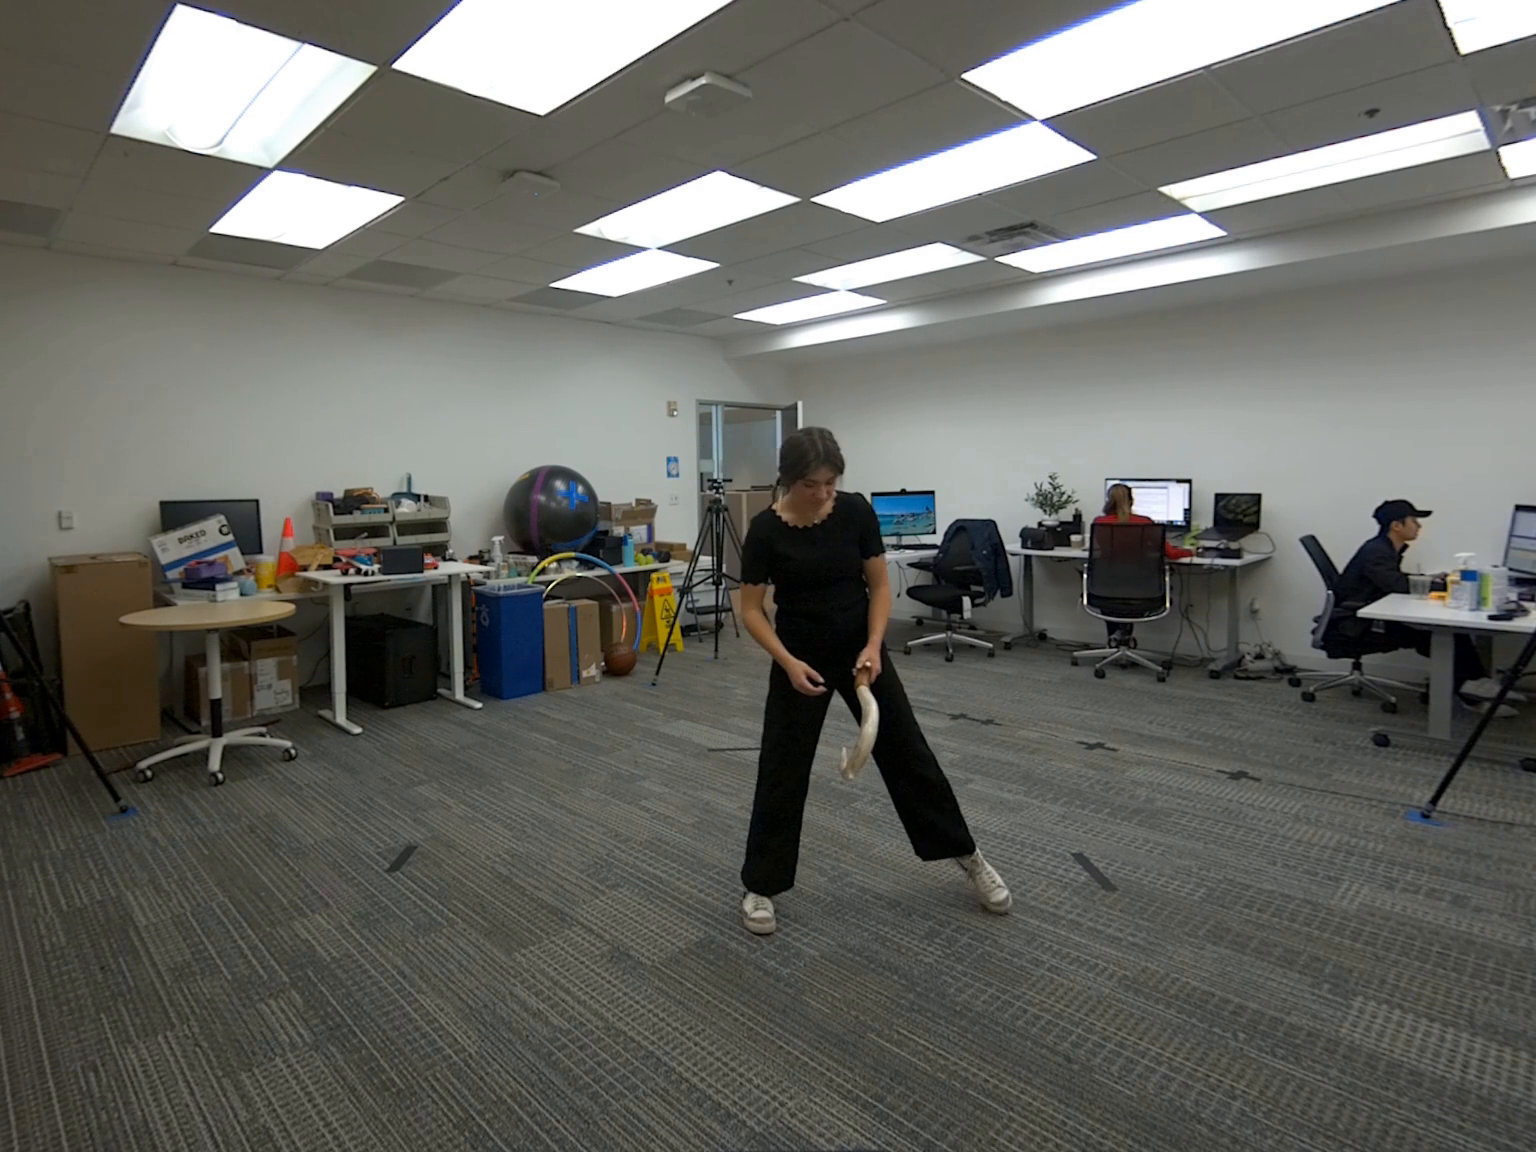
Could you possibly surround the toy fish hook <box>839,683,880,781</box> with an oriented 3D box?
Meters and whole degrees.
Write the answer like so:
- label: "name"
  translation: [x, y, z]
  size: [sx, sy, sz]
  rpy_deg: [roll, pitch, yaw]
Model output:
- label: "toy fish hook"
  translation: [0.250, 0.399, 2.395]
  size: [0.048, 0.223, 0.512]
  rpy_deg: [23, 21, -4]
